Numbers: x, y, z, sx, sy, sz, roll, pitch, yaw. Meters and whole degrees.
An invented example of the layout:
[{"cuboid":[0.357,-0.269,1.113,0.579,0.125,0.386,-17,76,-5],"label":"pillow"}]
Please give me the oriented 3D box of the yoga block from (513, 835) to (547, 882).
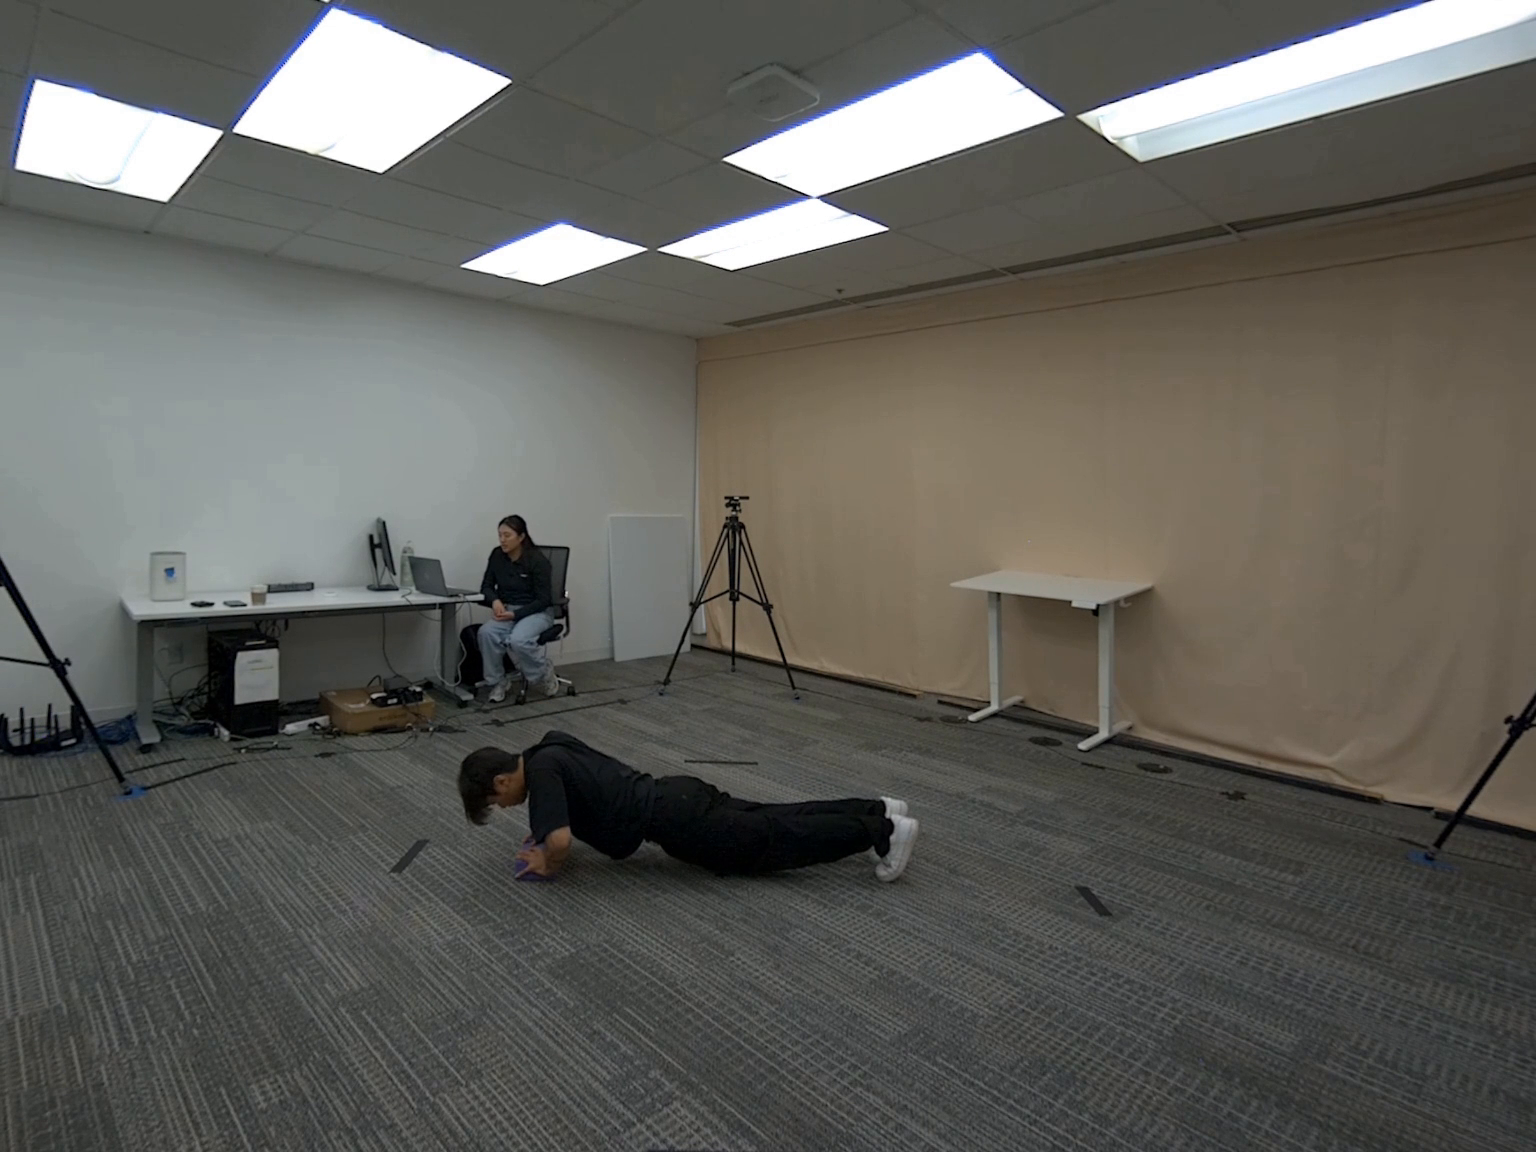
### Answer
[{"cuboid":[-0.850,1.041,3.137,0.149,0.076,0.230,-3,5,-3],"label":"yoga block"}]
